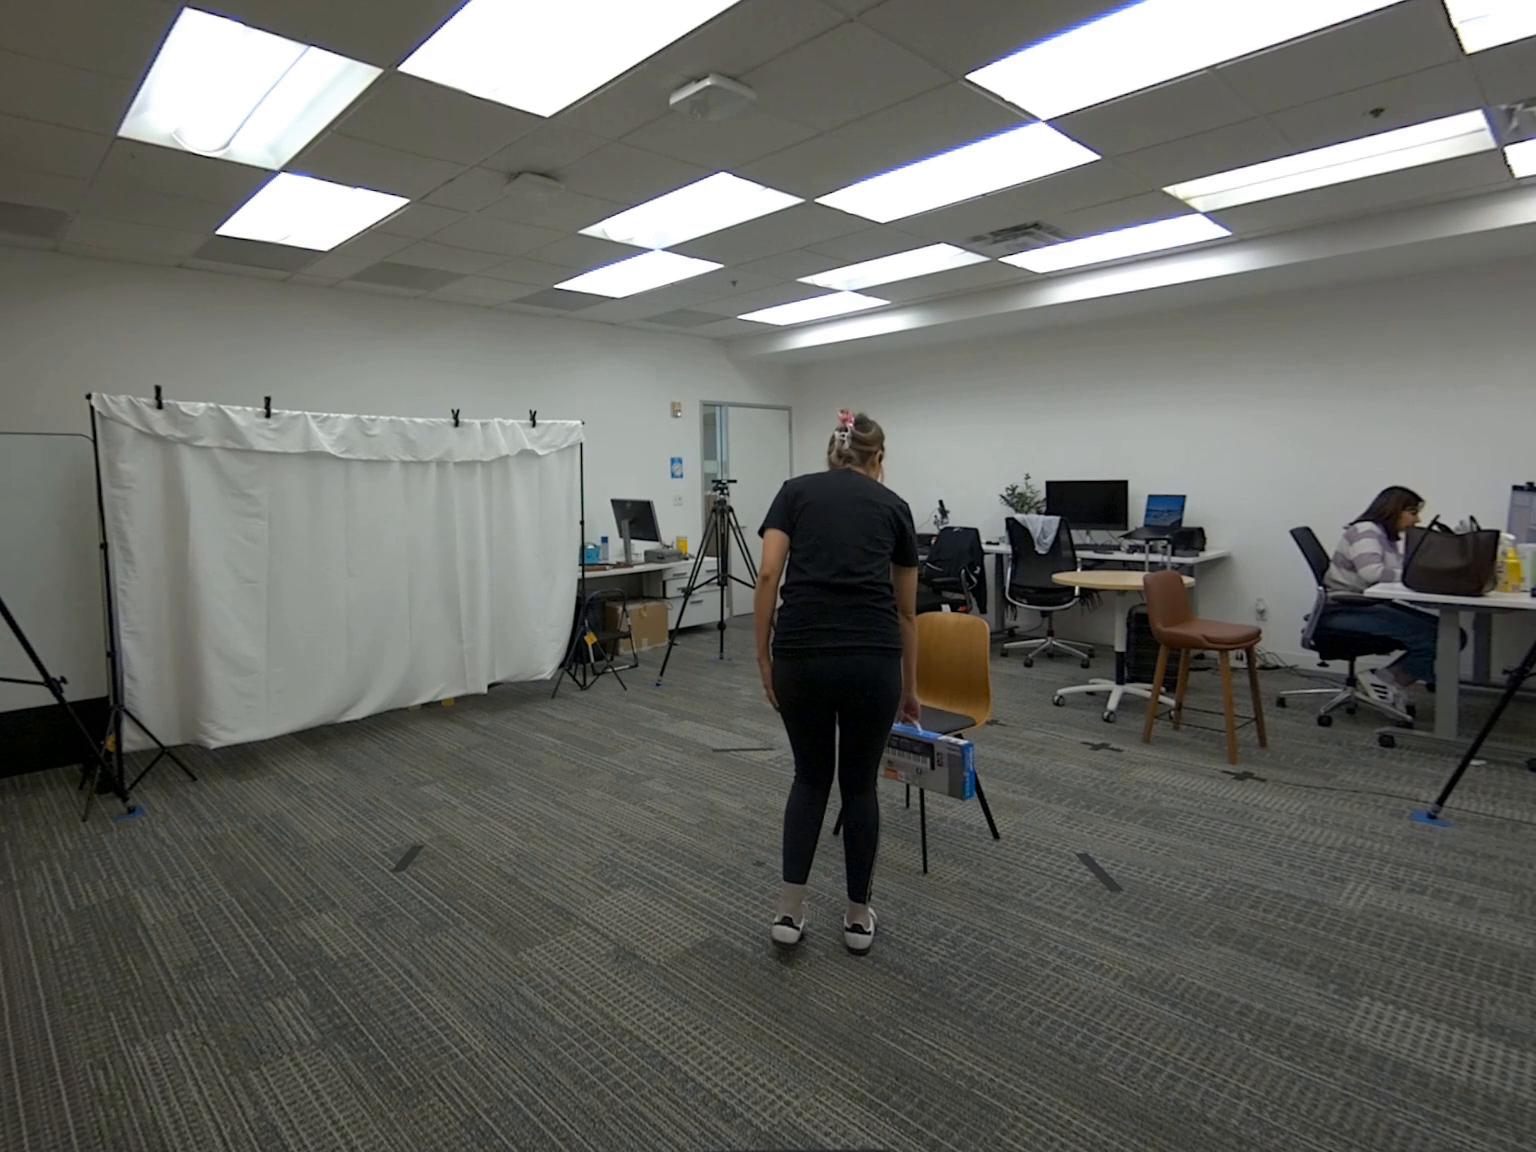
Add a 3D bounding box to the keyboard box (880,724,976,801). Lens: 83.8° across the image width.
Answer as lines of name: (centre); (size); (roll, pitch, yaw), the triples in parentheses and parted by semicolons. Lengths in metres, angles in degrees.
keyboard box: (0.467, 0.587, 2.760); (0.057, 0.175, 0.450); (-6, 7, -41)
